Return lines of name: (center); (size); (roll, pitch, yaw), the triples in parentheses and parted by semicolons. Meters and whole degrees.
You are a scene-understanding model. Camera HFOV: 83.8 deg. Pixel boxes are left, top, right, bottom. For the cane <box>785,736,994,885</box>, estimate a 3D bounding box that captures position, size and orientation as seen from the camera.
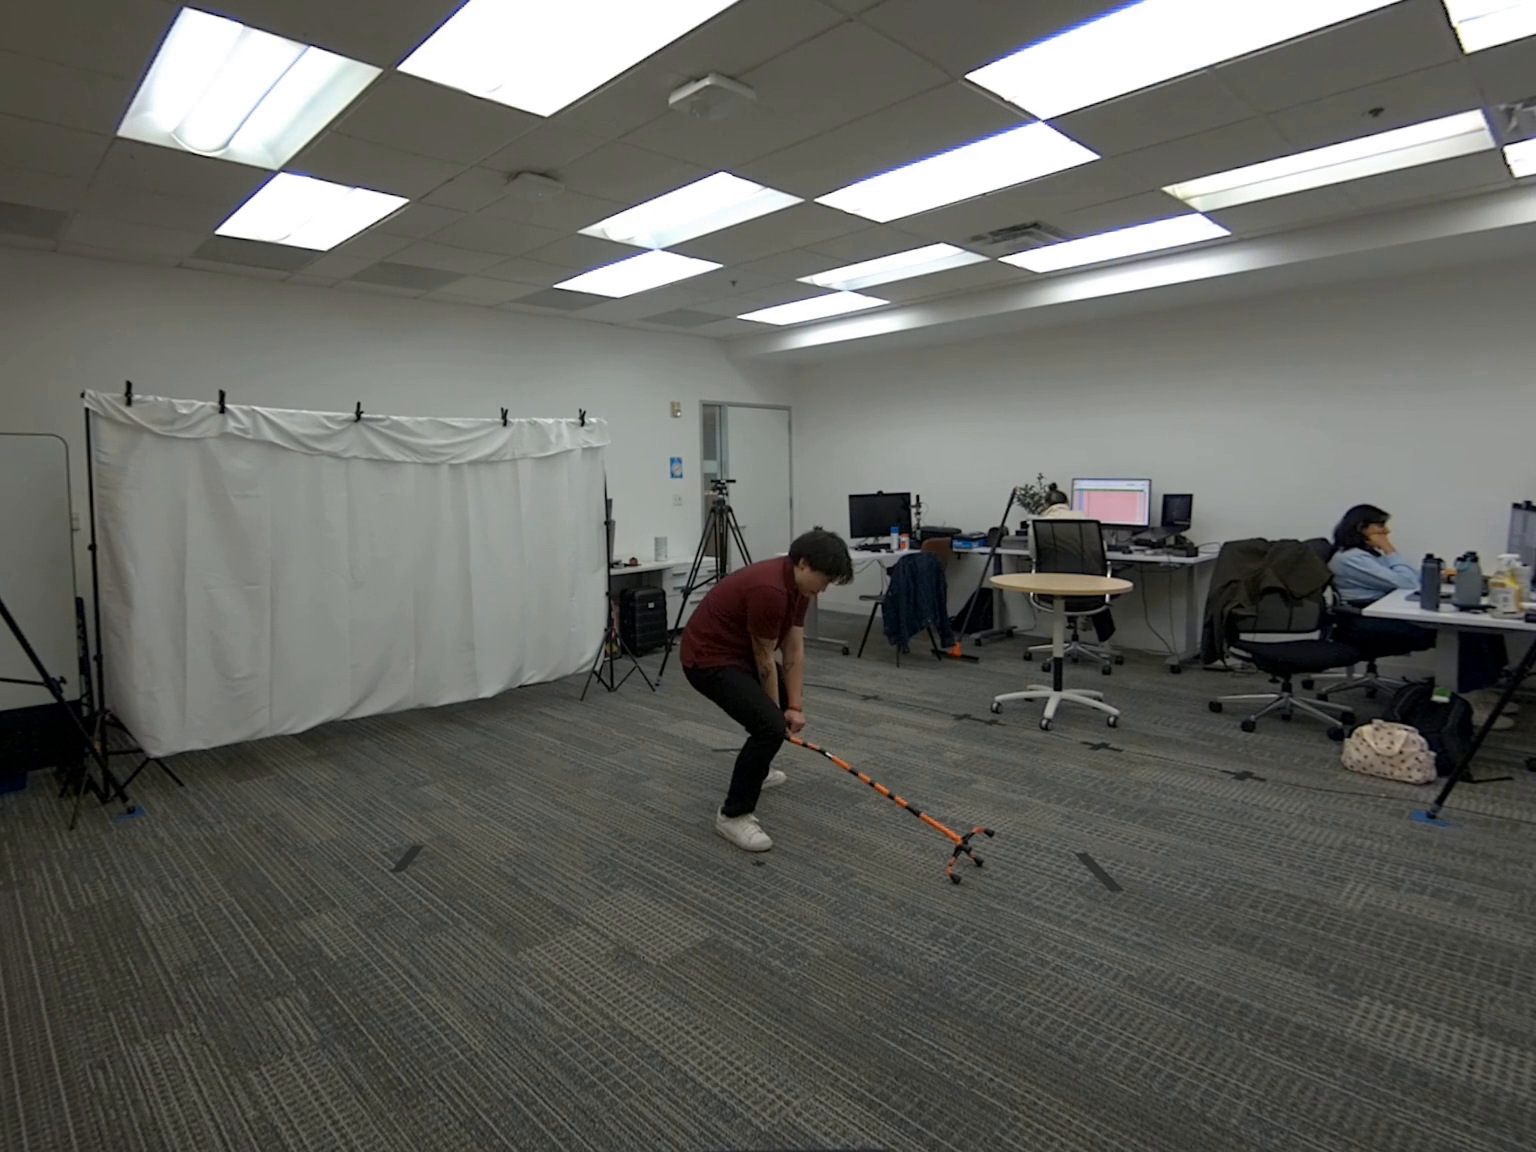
cane: (0.392, 0.803, 3.247); (0.942, 0.150, 0.201); (27, 22, 37)
